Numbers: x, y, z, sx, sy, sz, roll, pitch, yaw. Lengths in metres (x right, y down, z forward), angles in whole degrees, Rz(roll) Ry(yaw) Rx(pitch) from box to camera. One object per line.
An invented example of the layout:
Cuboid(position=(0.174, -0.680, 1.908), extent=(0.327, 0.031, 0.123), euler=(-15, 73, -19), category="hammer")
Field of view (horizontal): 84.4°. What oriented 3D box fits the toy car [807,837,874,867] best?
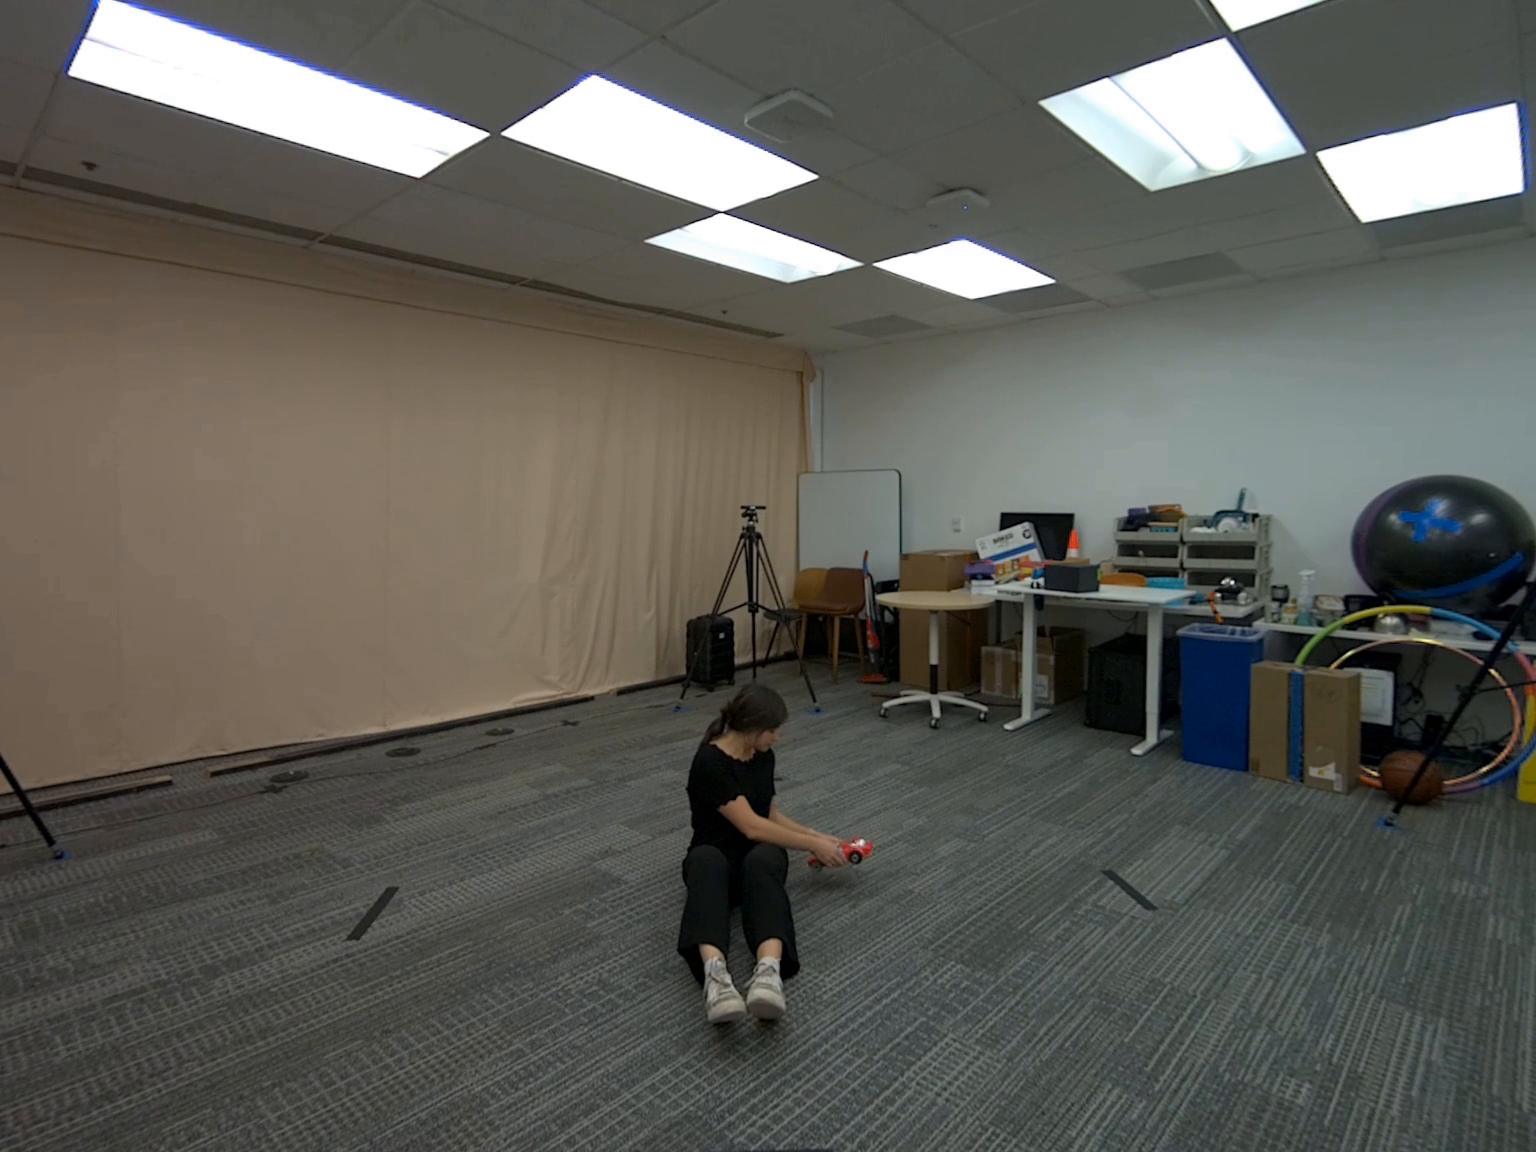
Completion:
Cuboid(position=(0.268, 1.016, 3.056), extent=(0.256, 0.084, 0.127), euler=(-27, -14, 9), category="toy car")
